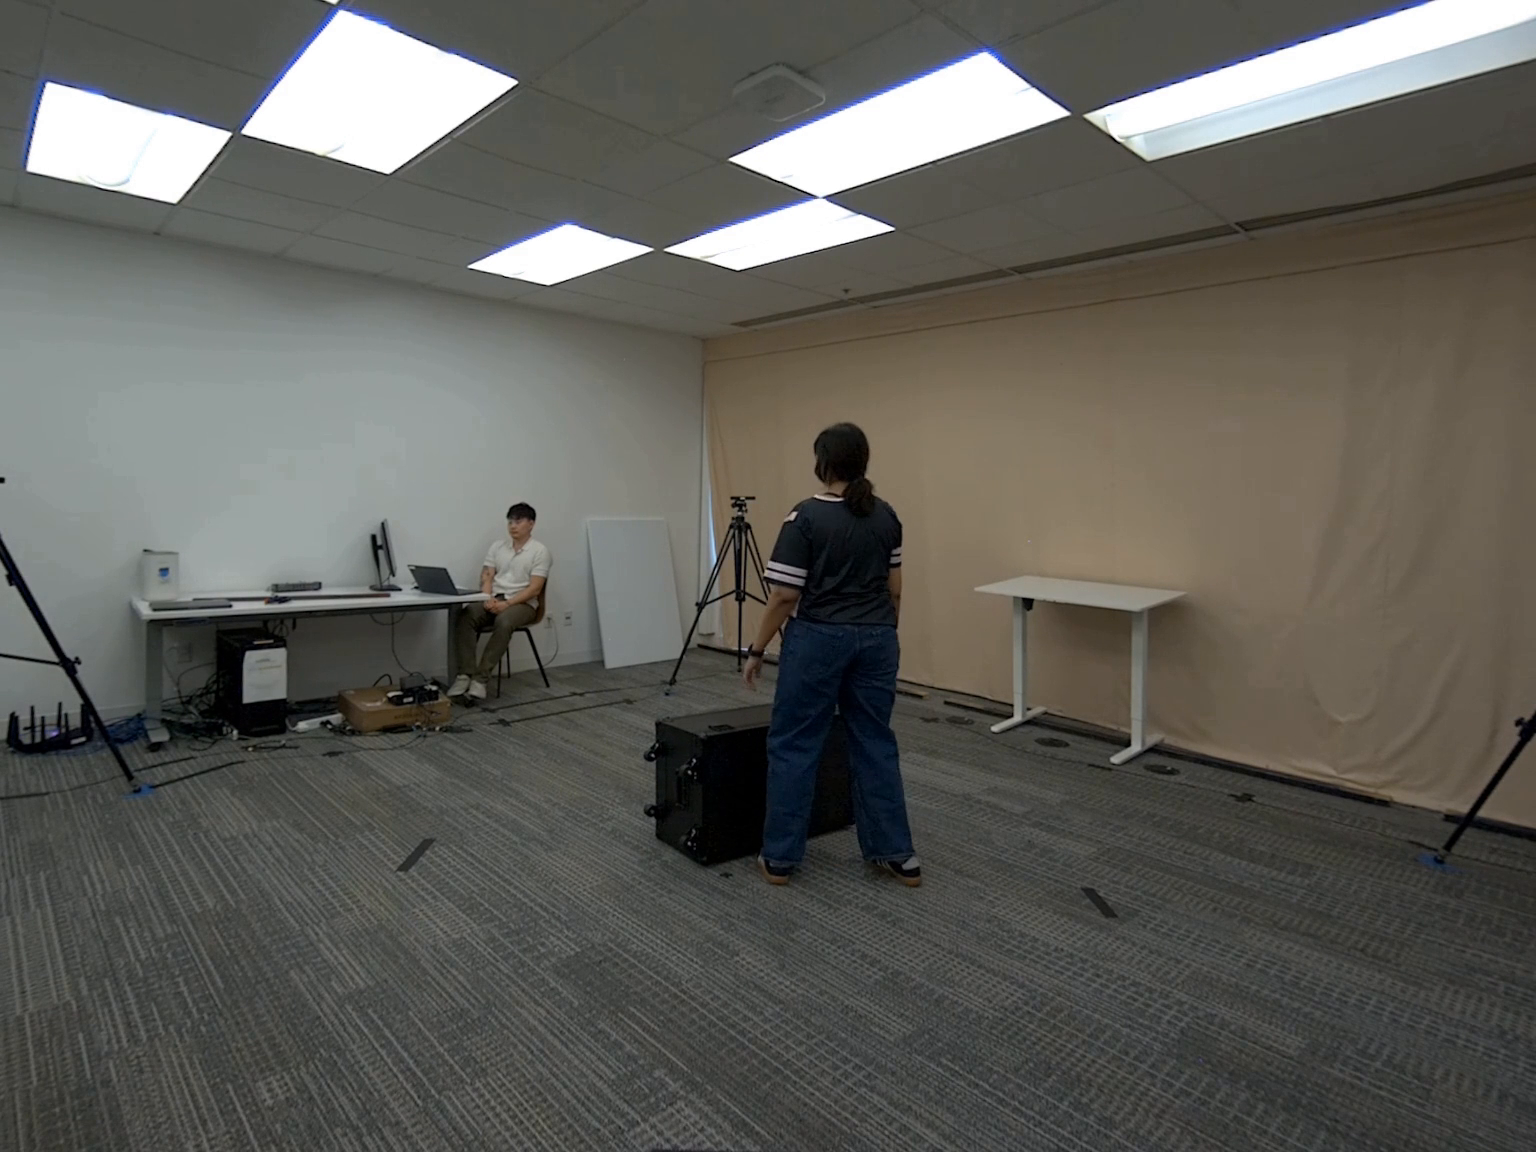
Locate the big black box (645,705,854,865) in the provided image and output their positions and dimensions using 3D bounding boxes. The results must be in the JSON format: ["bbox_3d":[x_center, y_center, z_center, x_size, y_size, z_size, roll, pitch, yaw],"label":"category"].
[{"bbox_3d":[-0.082,0.817,3.492,0.849,0.522,0.394,-2,4,-36],"label":"big black box"}]
